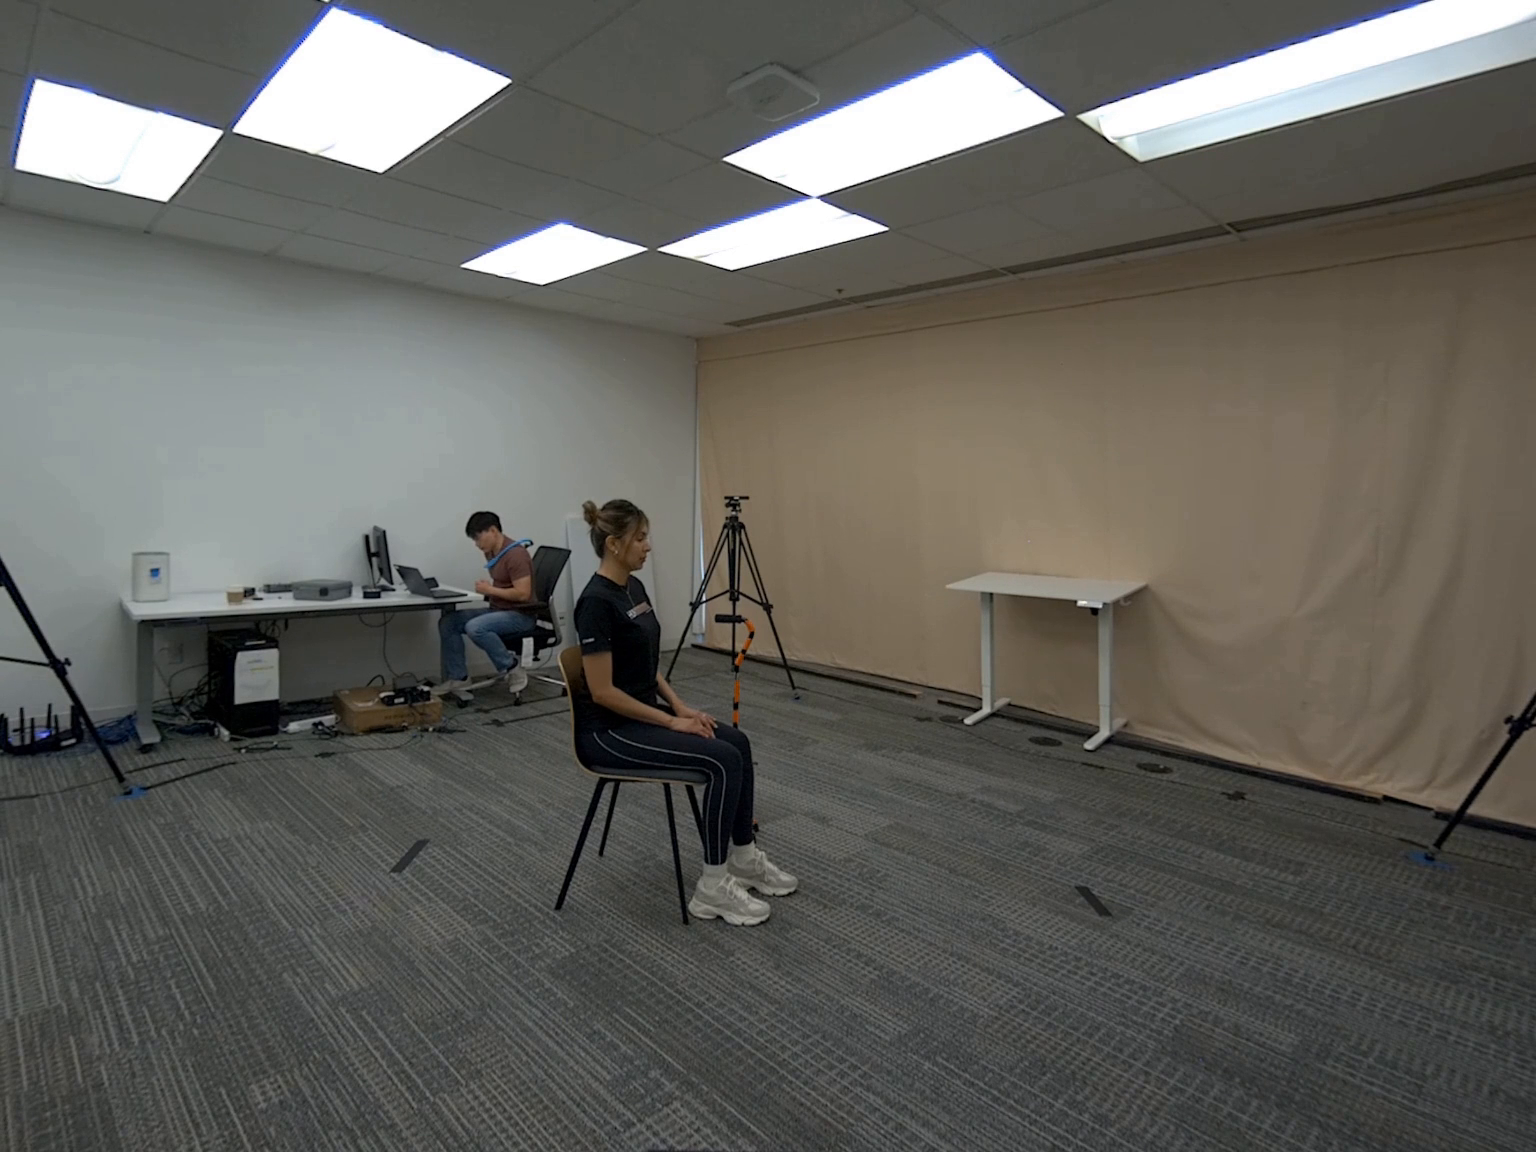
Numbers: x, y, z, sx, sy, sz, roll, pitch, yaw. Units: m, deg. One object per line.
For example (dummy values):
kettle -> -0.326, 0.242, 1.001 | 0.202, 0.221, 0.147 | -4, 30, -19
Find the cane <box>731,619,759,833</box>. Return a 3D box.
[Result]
cane -> -0.135, 0.619, 3.457 | 0.207, 0.905, 0.151 | 2, 3, 4
